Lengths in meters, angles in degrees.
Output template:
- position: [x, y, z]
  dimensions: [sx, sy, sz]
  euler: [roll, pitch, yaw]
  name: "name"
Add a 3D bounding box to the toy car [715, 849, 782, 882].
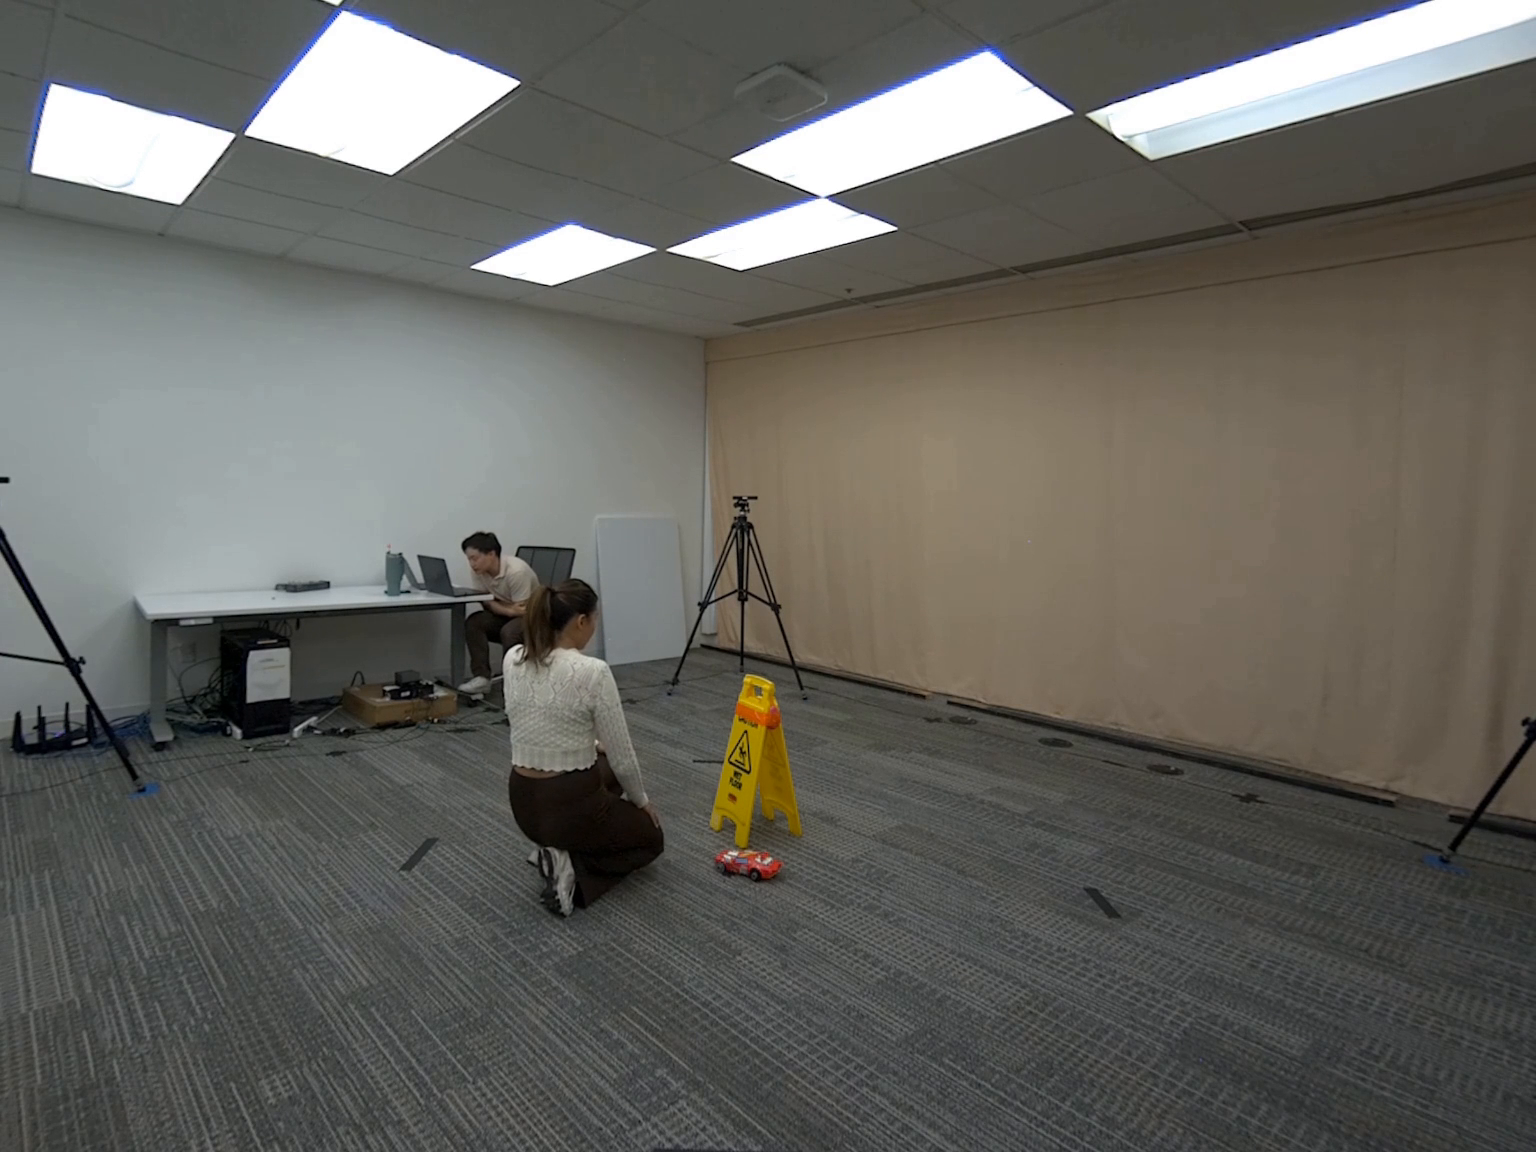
- position: [-0.084, 1.073, 3.118]
  dimensions: [0.259, 0.083, 0.128]
  euler: [-8, -2, 28]
  name: "toy car"
